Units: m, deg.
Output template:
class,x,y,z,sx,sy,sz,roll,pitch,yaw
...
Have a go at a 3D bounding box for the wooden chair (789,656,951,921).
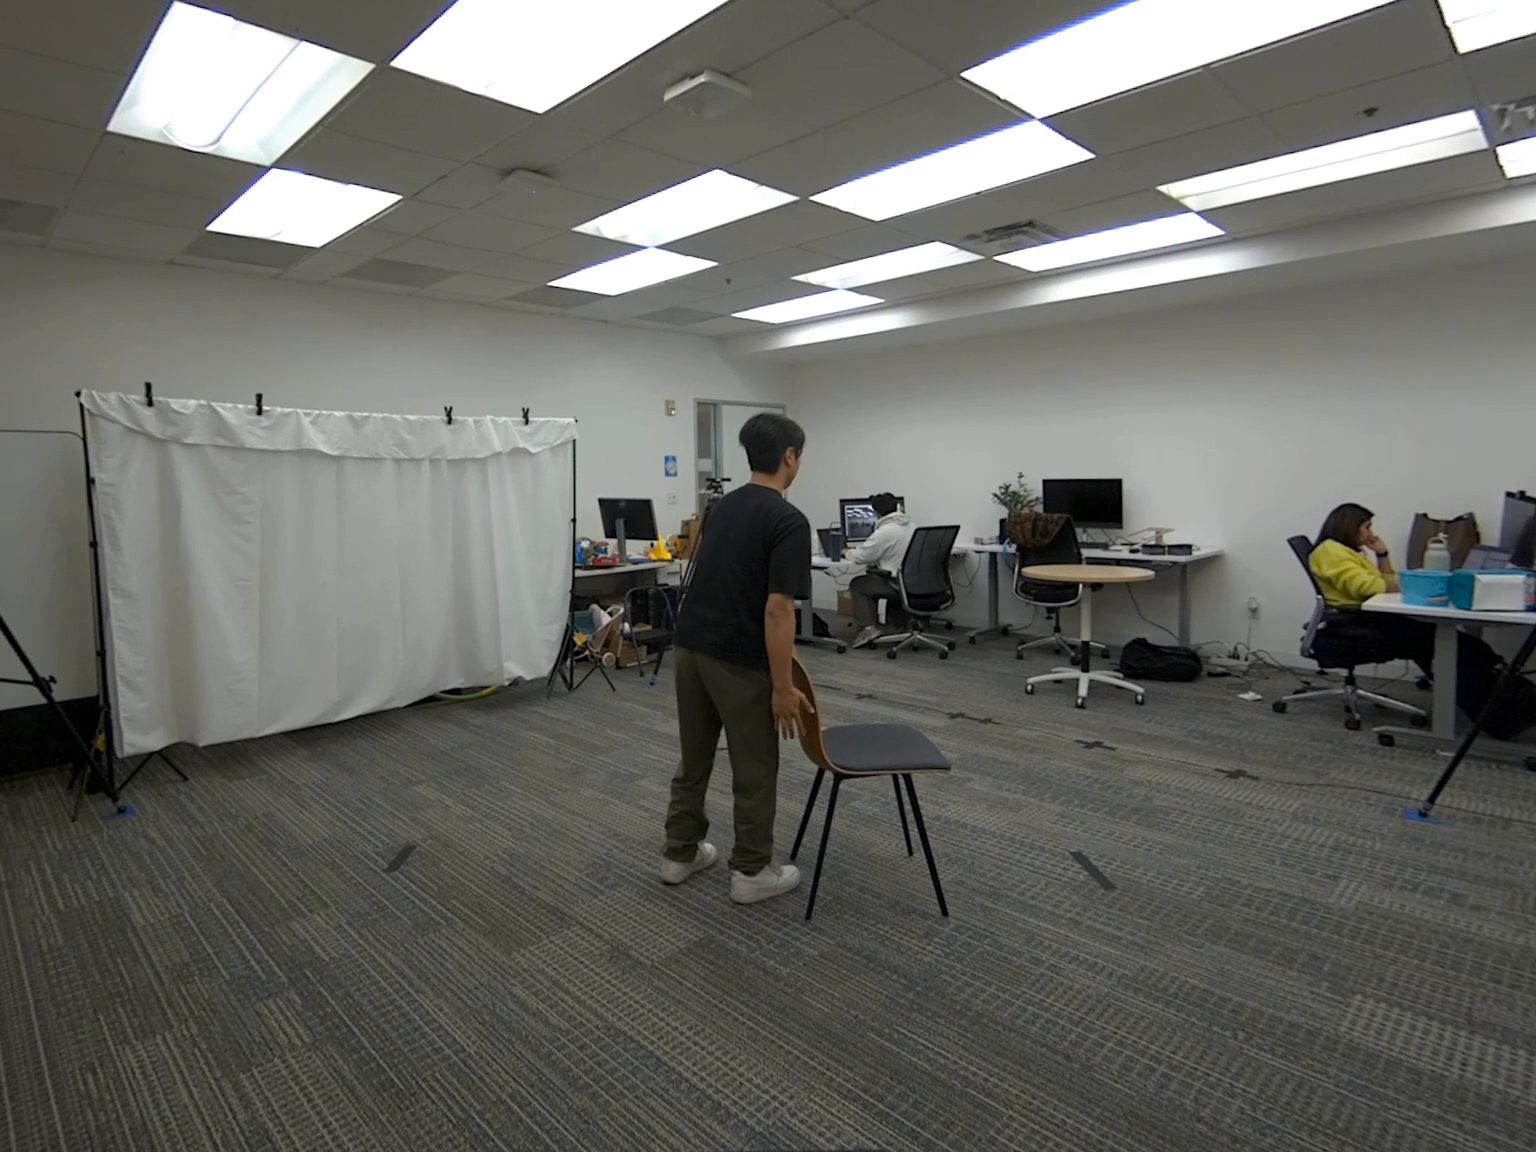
class,x,y,z,sx,sy,sz,roll,pitch,yaw
wooden chair,0.330,0.630,2.898,0.522,0.875,0.481,-5,3,-4
